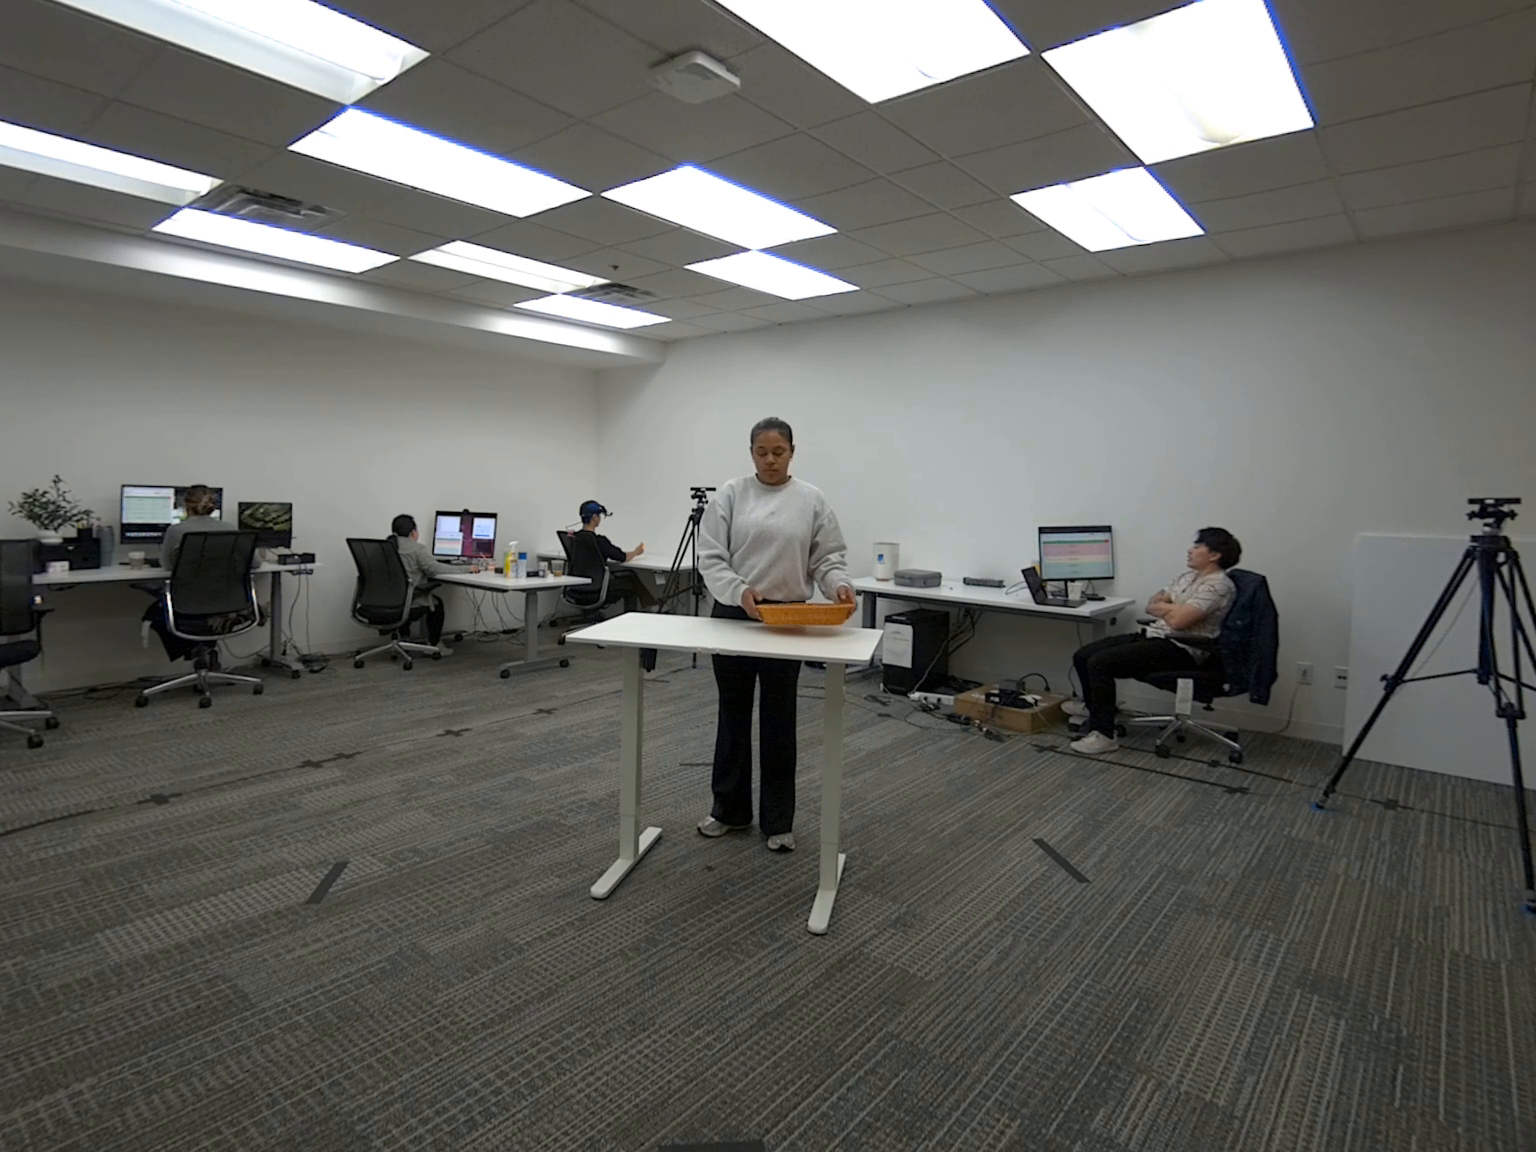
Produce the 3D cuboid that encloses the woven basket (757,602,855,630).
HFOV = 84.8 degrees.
[{"bbox_3d":[0.111,0.125,3.070,0.357,0.073,0.248,1,1,16],"label":"woven basket"}]
